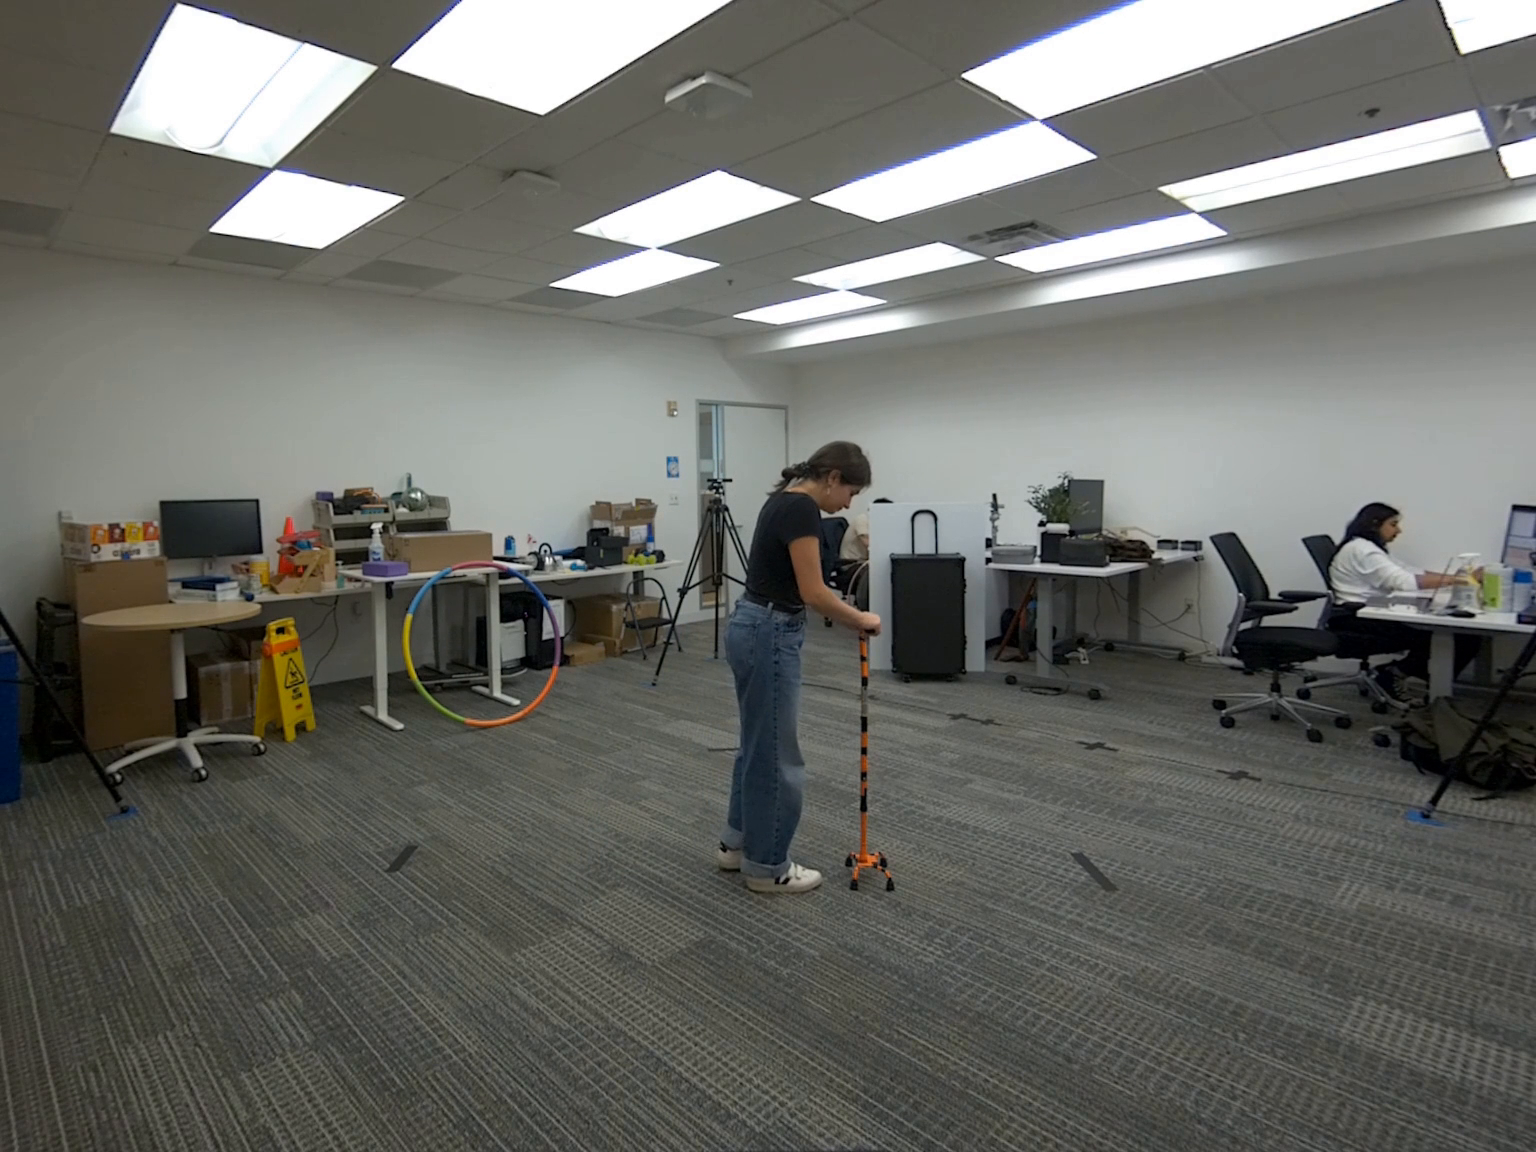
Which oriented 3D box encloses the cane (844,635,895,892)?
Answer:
[{"bbox_3d":[0.349,0.593,2.954,0.152,0.905,0.207,0,4,1],"label":"cane"}]
